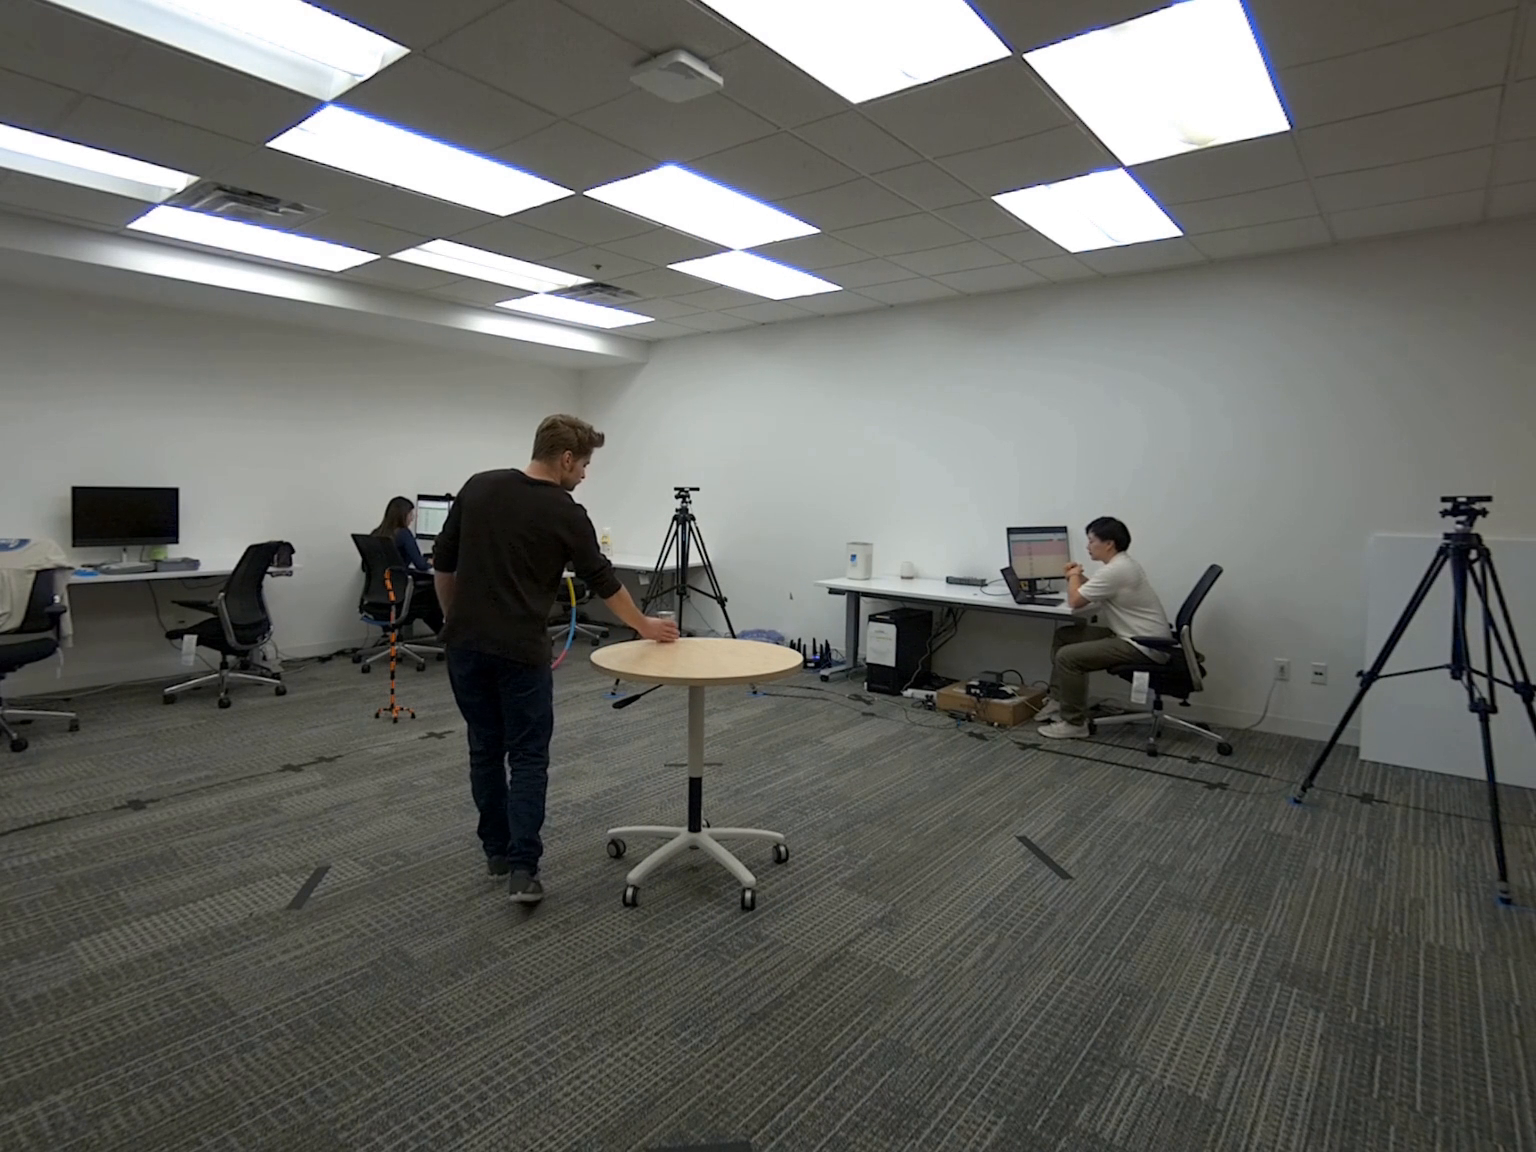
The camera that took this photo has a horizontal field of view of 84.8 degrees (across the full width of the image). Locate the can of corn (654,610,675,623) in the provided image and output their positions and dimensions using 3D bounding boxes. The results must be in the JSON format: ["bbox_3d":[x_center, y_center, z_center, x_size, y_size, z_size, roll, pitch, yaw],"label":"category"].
[{"bbox_3d":[-0.416,0.196,3.375,0.074,0.111,0.074,-2,2,-2],"label":"can of corn"}]
